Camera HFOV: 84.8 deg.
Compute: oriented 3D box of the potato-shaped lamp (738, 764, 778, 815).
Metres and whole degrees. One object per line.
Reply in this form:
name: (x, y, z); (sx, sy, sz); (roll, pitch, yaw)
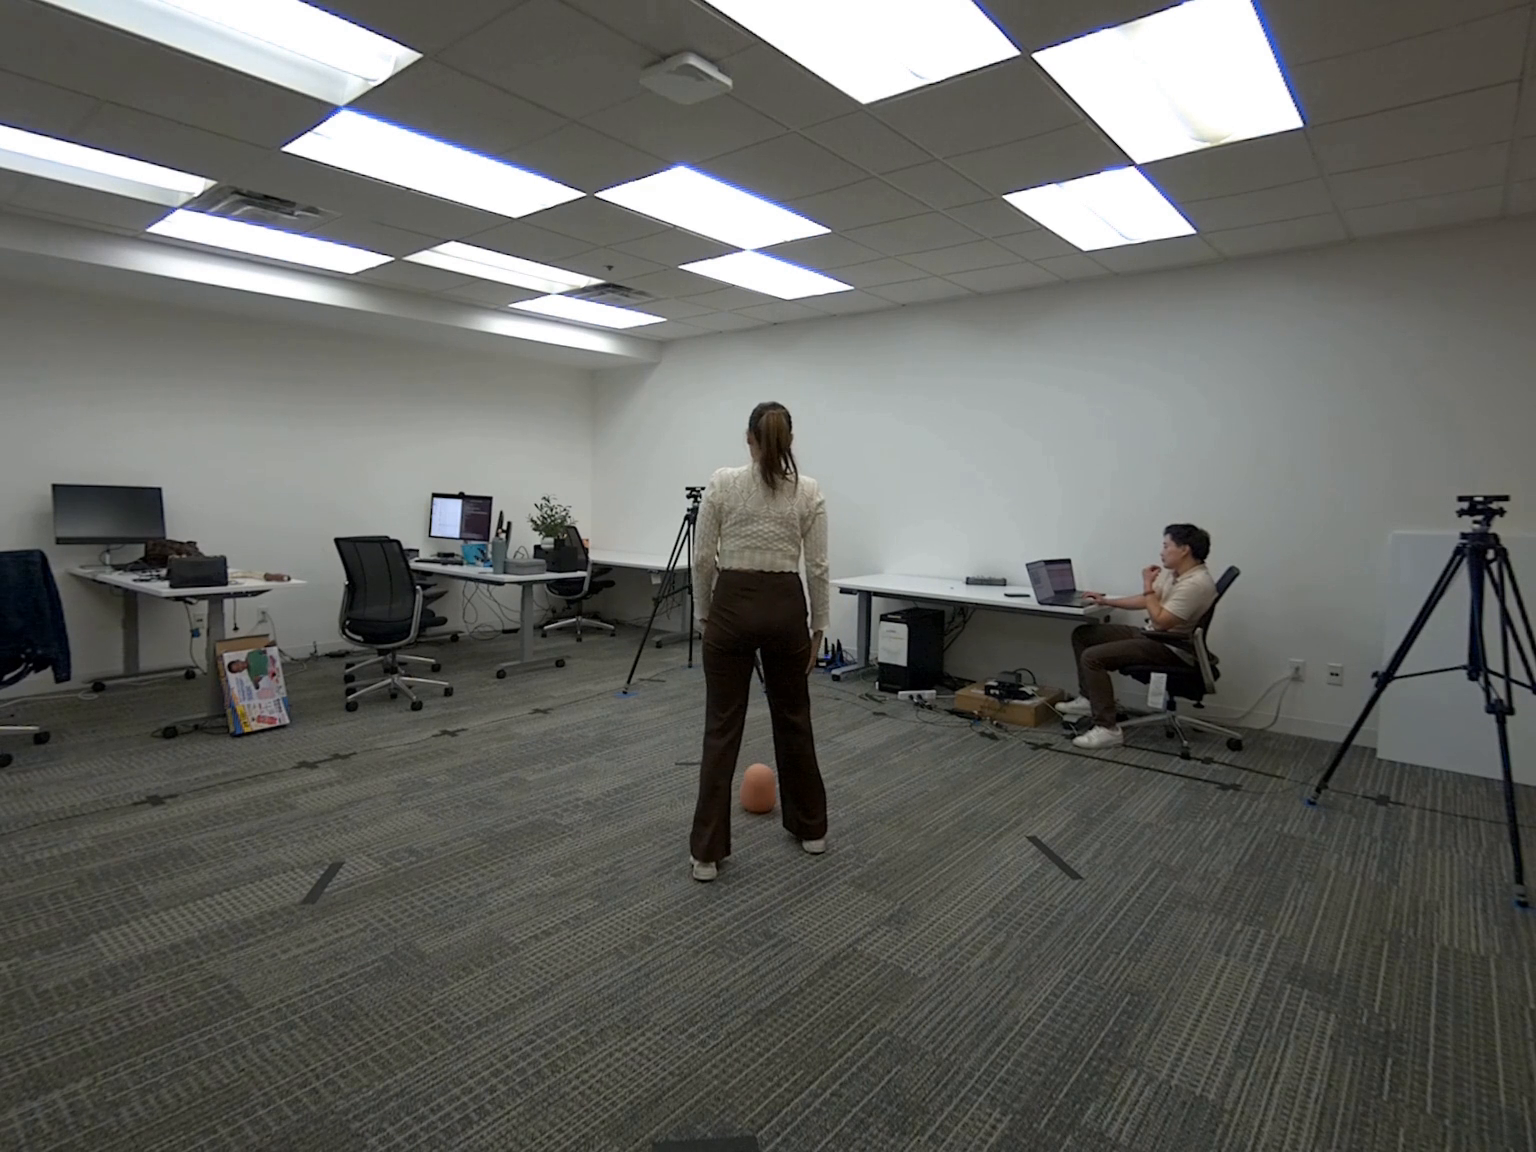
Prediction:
potato-shaped lamp: (-0.050, 0.908, 3.687); (0.164, 0.197, 0.173); (2, 7, -2)
